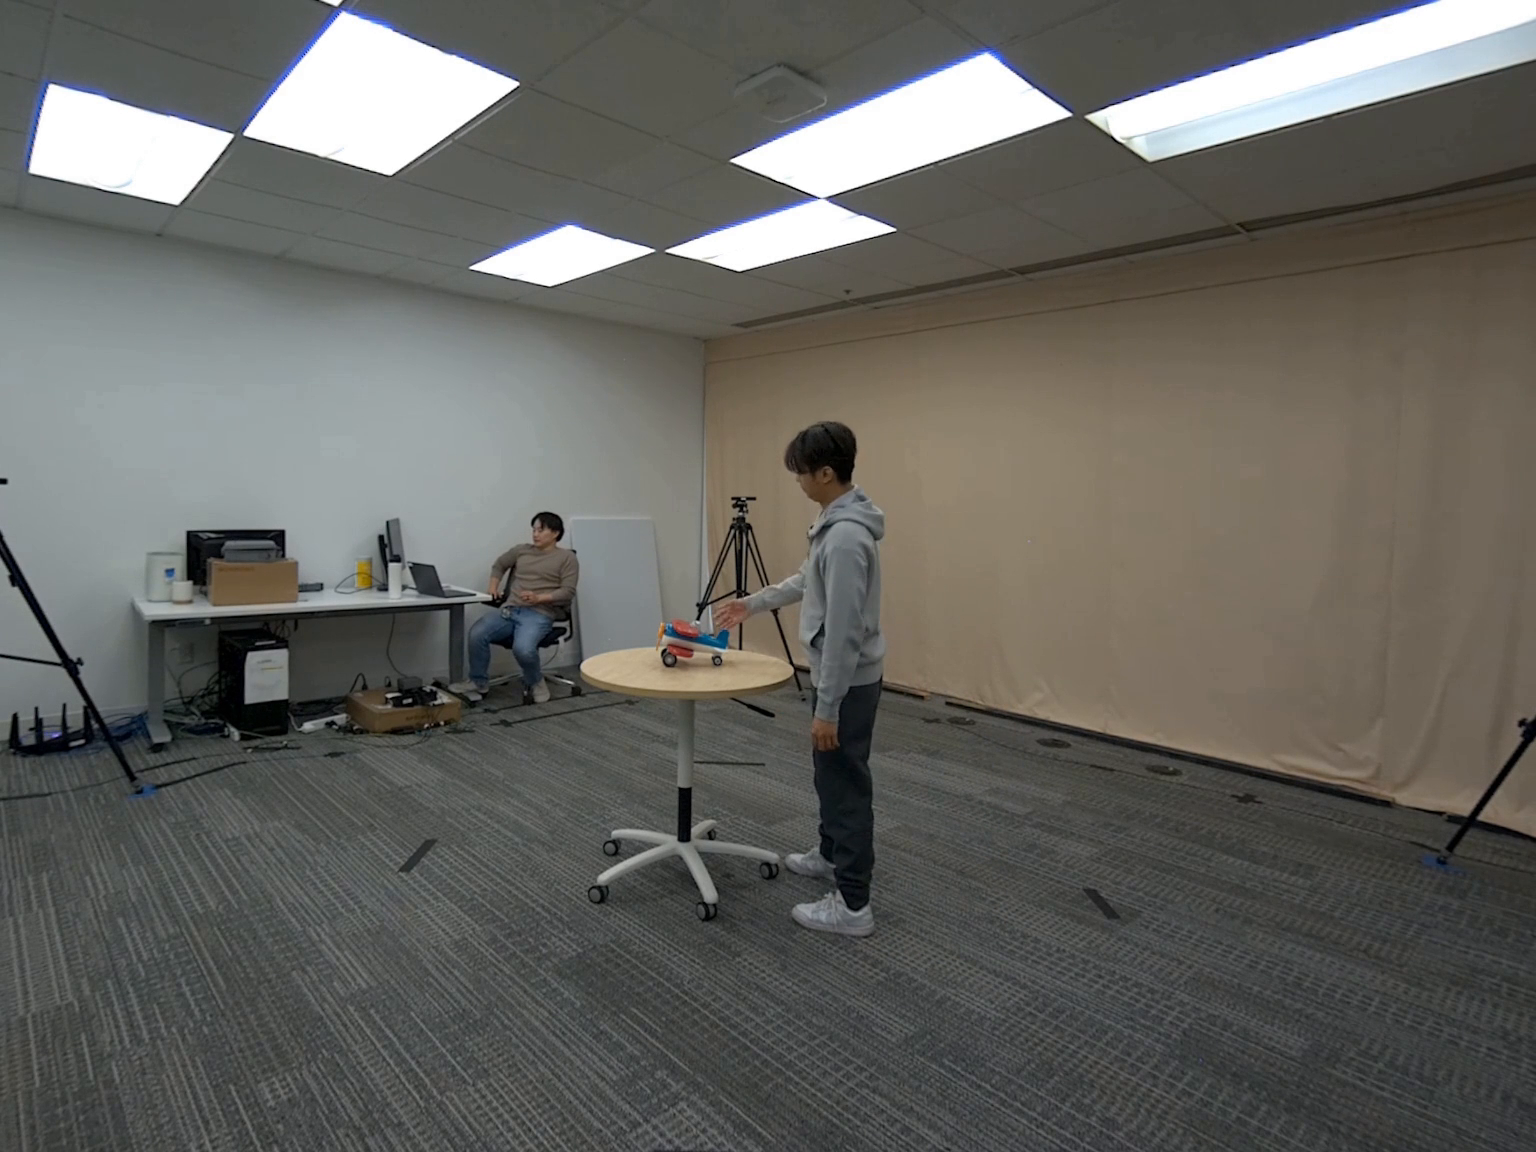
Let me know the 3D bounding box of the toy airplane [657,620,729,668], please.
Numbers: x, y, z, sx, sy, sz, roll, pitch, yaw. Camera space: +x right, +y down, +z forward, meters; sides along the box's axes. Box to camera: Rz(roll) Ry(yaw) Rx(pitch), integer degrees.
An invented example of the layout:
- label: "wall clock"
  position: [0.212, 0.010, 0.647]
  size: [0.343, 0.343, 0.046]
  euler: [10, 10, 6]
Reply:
- label: "toy airplane"
  position: [-0.283, 0.242, 3.084]
  size: [0.253, 0.156, 0.257]
  euler: [-2, 5, -36]
